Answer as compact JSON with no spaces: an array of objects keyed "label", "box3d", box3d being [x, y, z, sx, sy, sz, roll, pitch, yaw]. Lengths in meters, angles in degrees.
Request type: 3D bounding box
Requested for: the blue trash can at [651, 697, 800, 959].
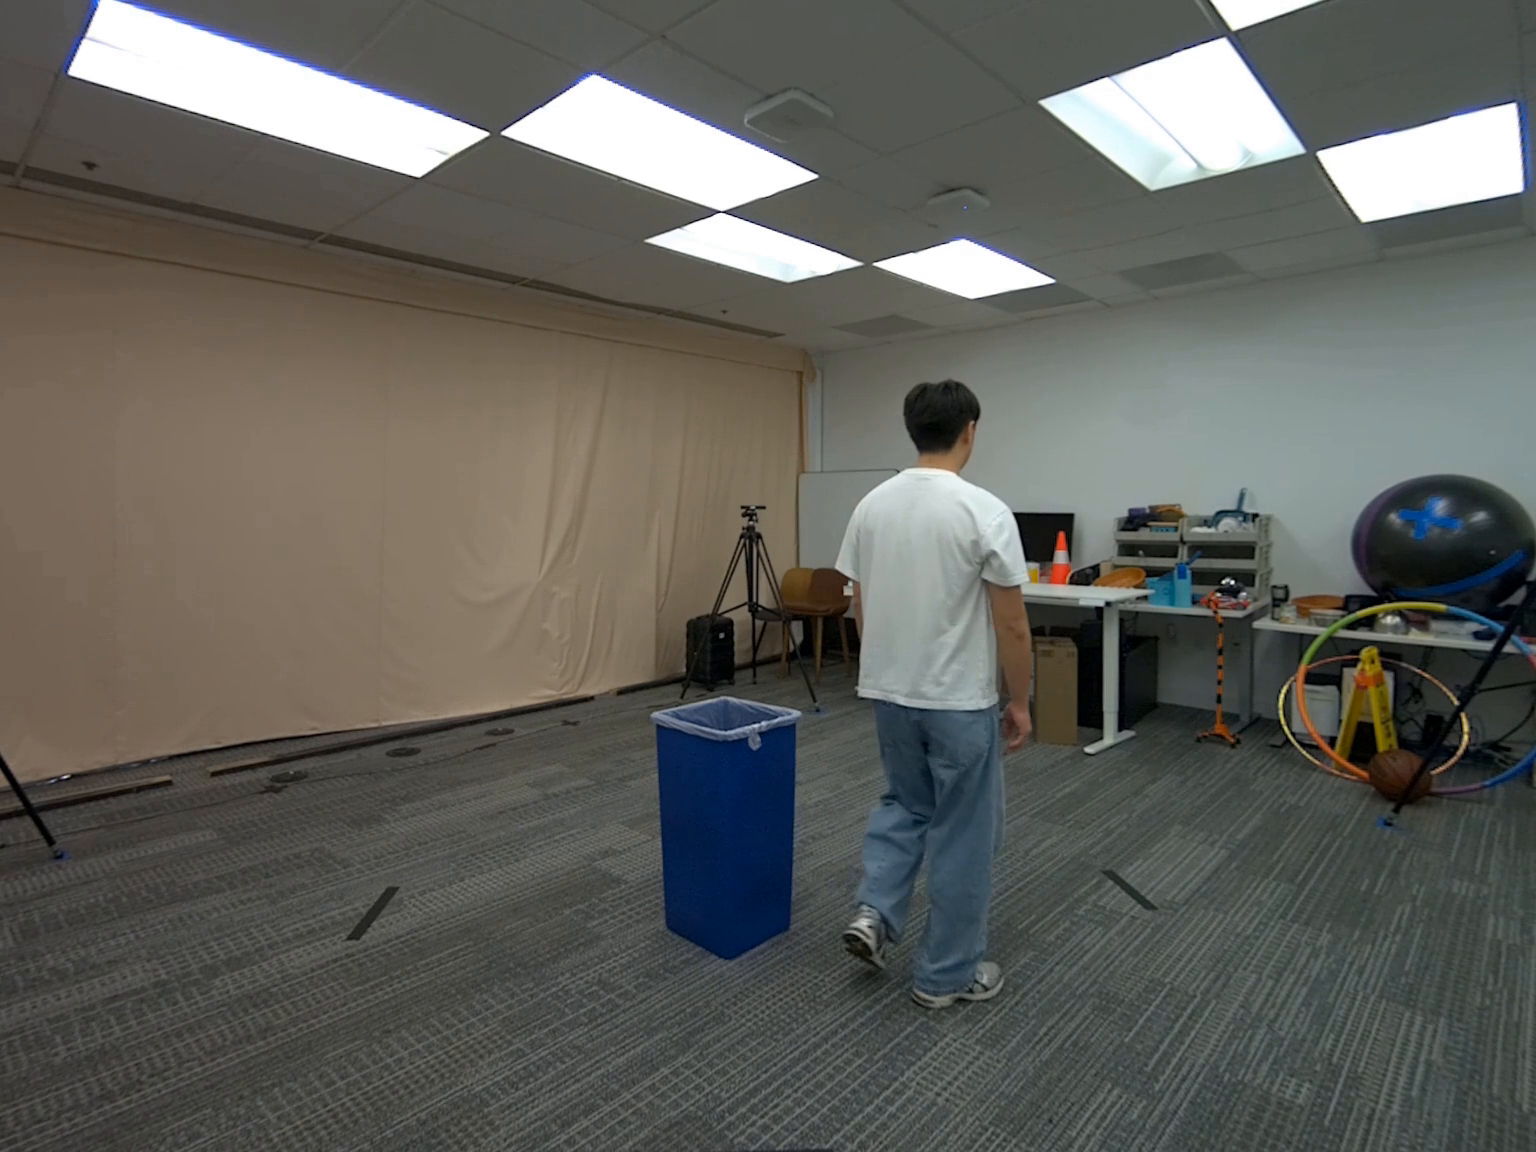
[{"label":"blue trash can","box3d":[-0.140,0.805,2.768,0.386,0.712,0.366,3,5,44]}]
